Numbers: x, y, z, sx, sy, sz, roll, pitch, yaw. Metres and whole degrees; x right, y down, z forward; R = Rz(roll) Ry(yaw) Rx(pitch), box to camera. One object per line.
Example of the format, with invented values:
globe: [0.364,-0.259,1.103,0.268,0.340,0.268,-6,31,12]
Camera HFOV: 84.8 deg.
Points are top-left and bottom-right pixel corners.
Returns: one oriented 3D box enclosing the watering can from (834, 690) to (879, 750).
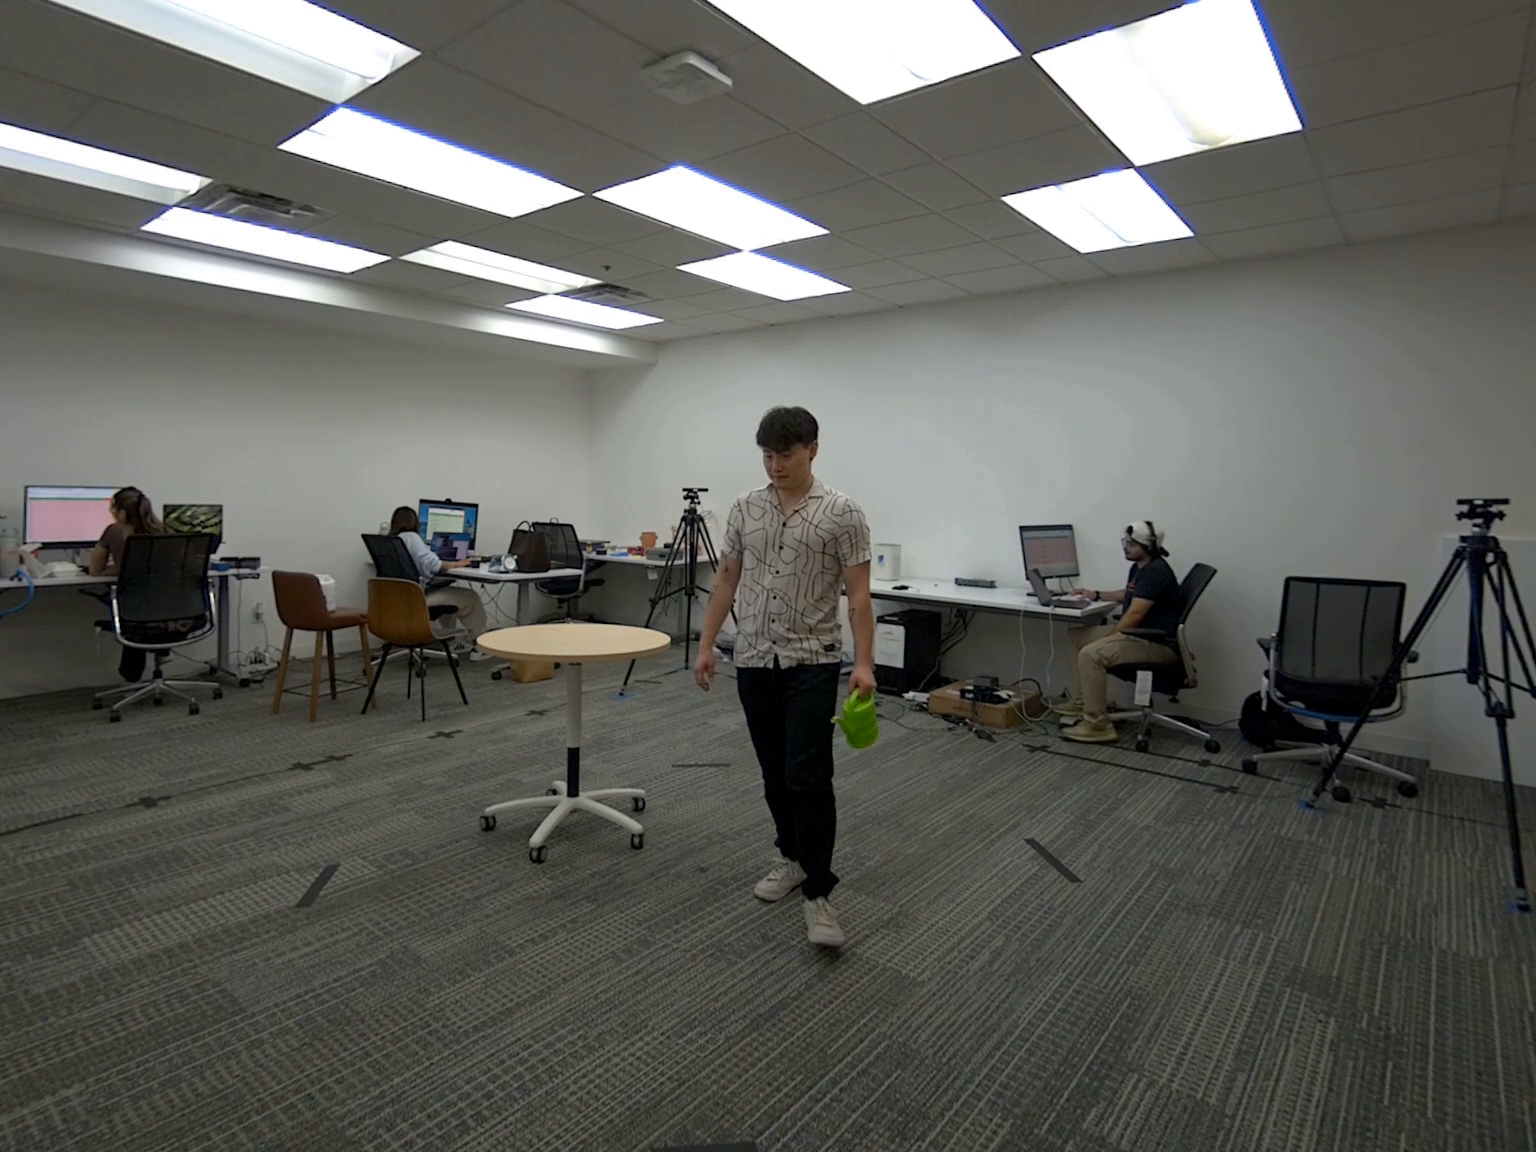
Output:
watering can: [0.262,0.454,2.661,0.101,0.173,0.273,11,26,43]
